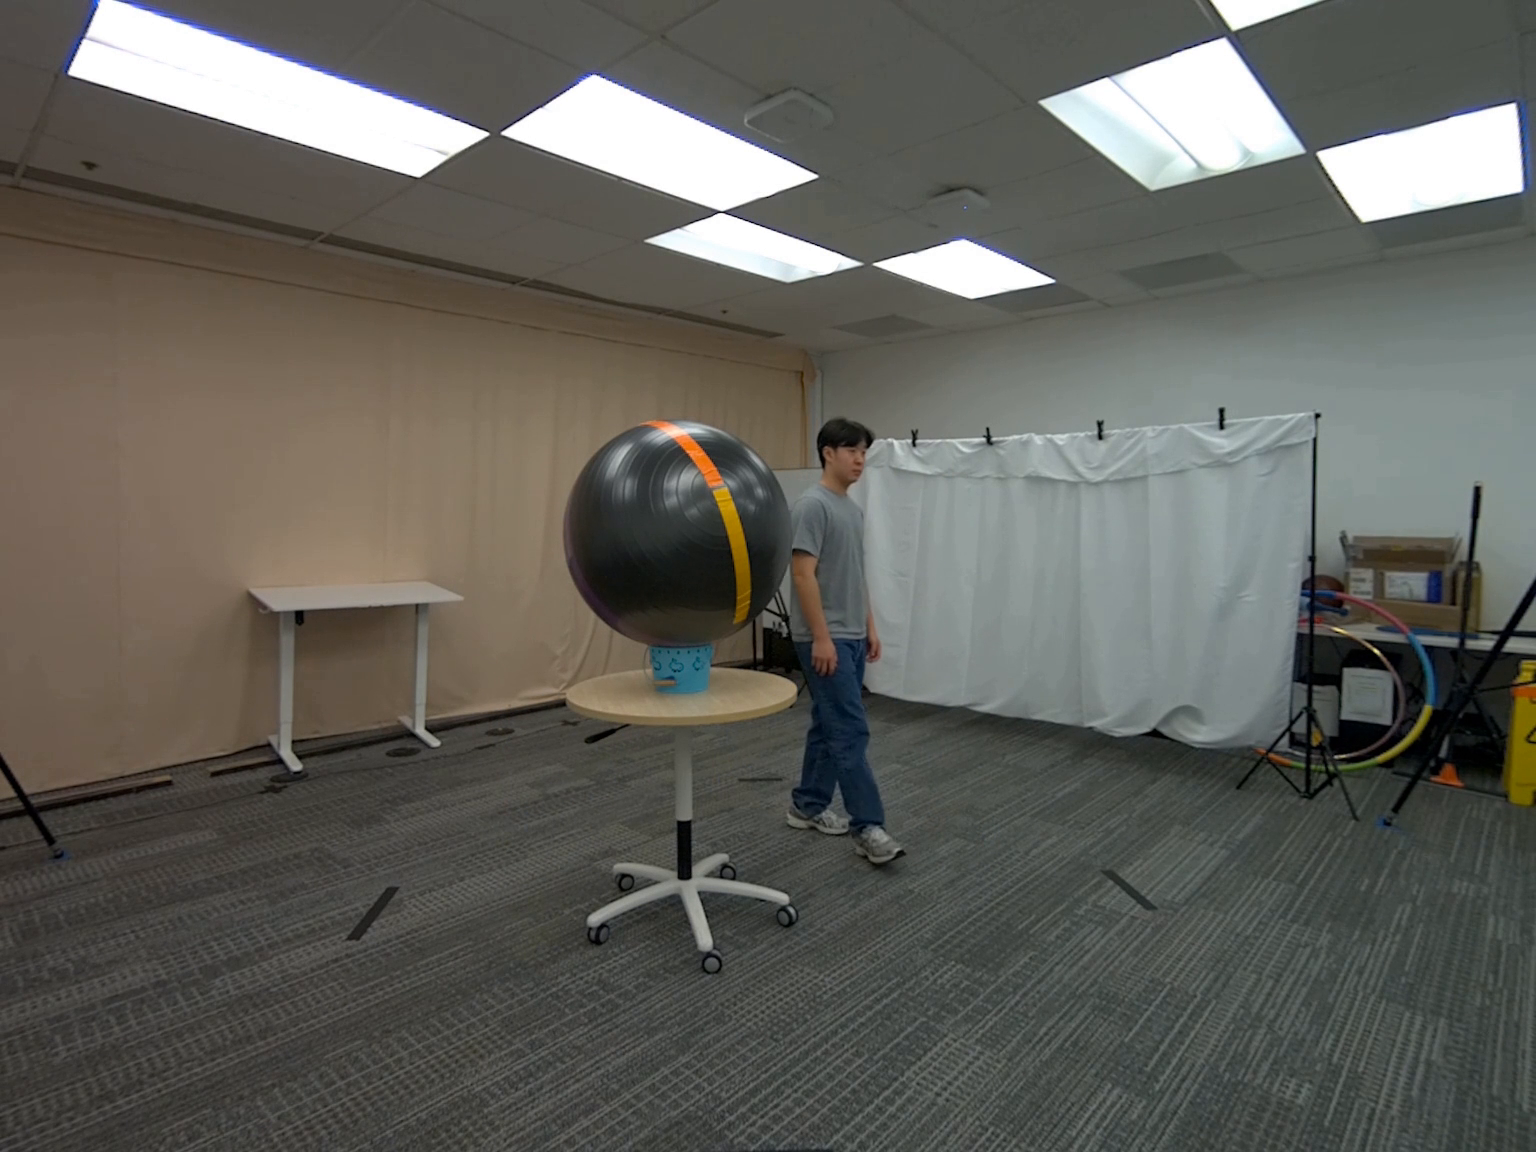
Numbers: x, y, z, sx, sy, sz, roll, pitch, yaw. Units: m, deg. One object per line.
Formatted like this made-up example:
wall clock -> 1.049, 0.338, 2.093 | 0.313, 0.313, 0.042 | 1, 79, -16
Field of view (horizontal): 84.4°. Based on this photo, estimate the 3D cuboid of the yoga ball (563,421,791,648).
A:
yoga ball -> -0.302, -0.135, 2.808 | 0.757, 0.756, 0.760 | 0, 4, -2
